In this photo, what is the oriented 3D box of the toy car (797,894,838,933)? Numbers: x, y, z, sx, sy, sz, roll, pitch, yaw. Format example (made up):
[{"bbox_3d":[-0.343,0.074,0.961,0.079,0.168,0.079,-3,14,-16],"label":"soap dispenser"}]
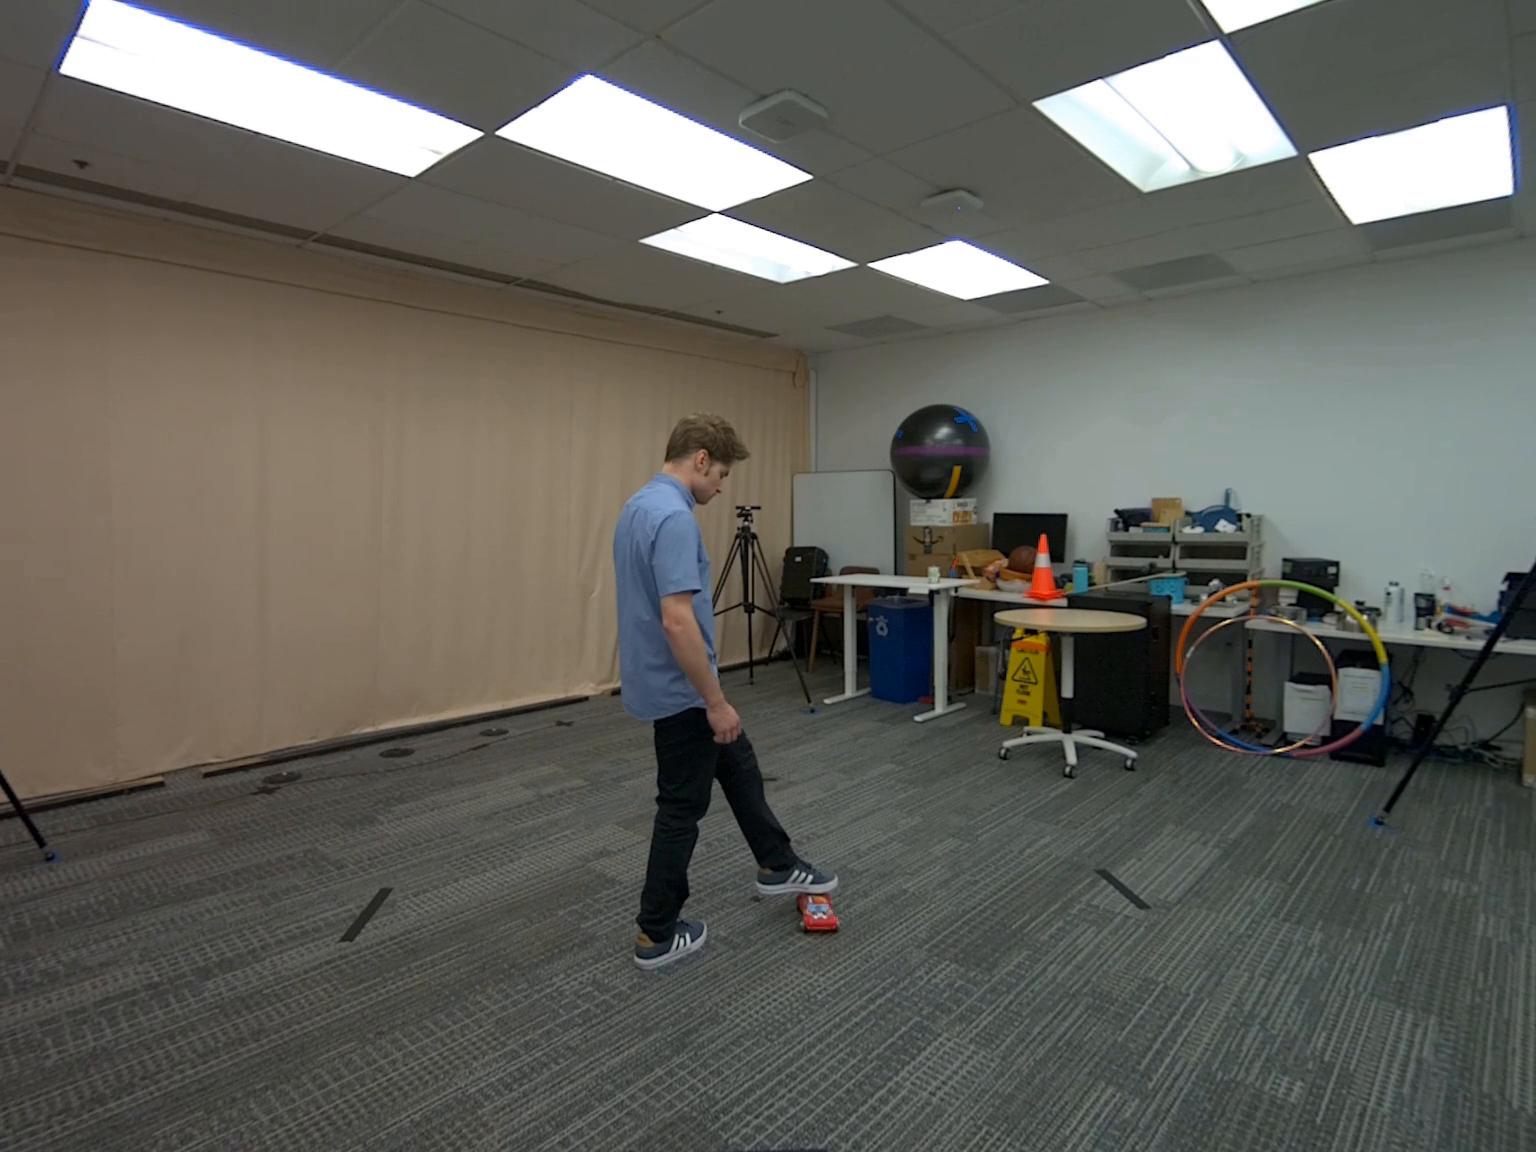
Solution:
[{"bbox_3d":[0.163,1.129,2.841,0.130,0.082,0.258,-1,13,-5],"label":"toy car"}]
